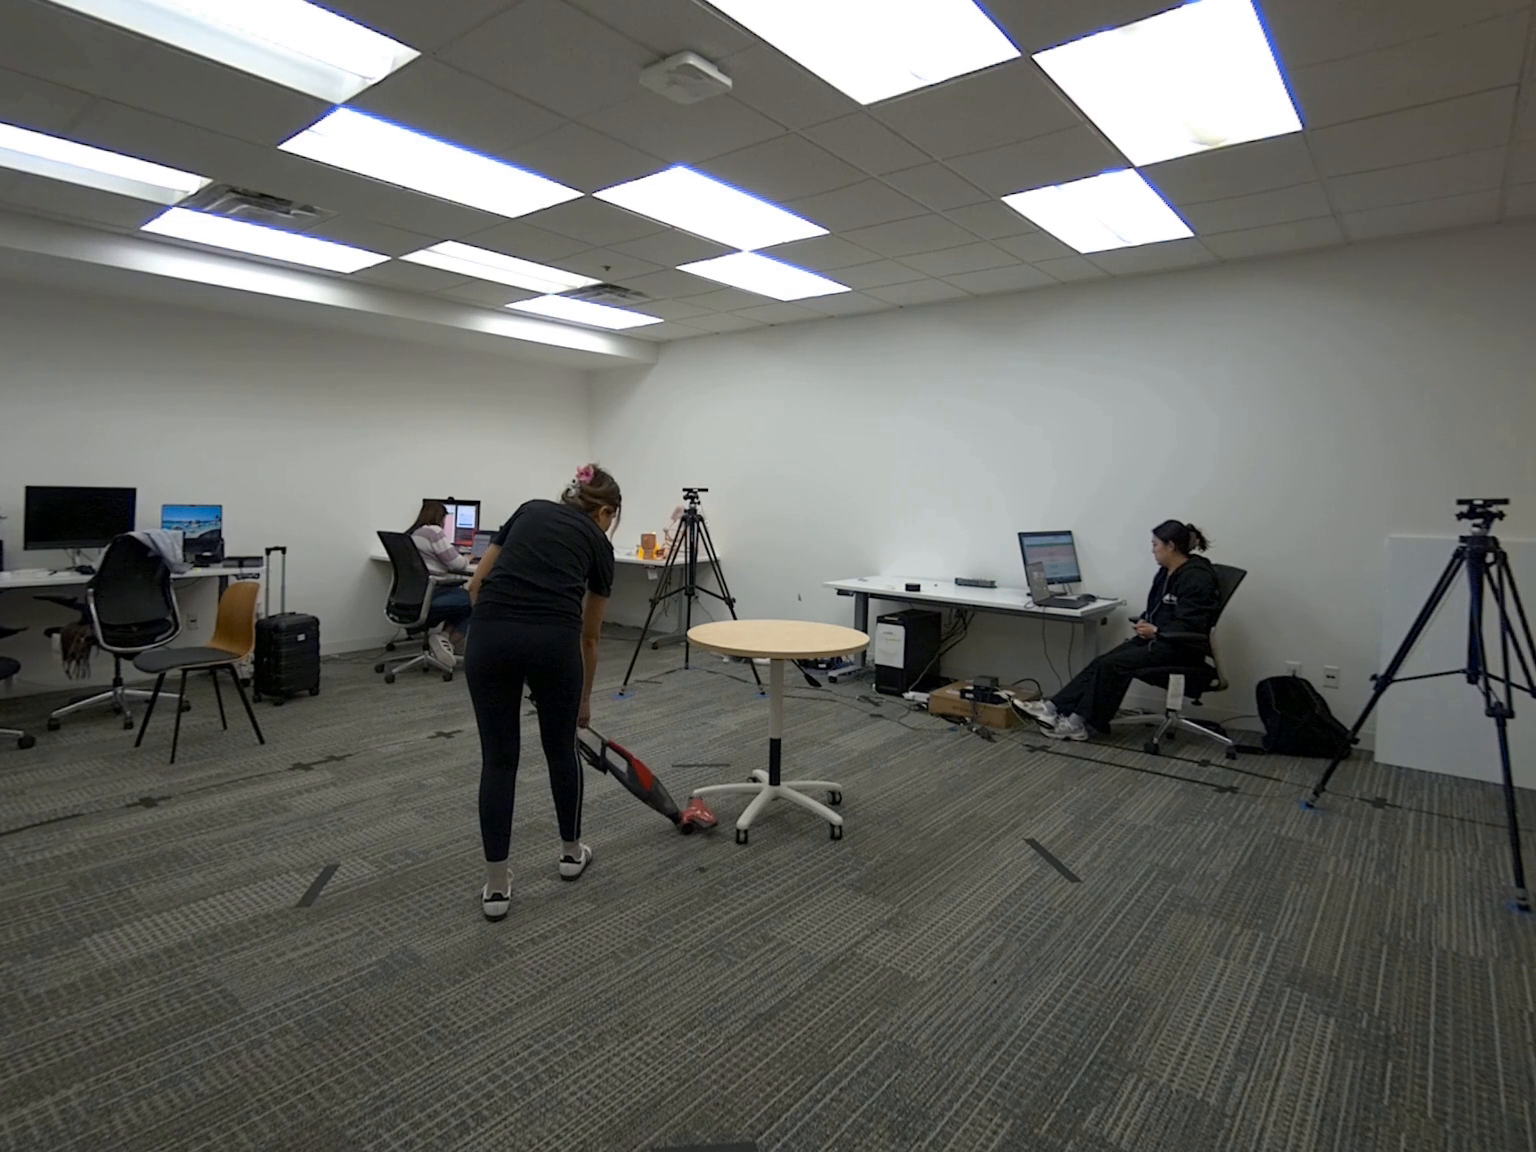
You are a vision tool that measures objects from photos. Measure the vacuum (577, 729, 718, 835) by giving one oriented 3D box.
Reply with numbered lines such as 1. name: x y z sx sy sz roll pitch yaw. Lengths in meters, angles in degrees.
1. vacuum: -0.674 0.682 3.332 1.022 0.144 0.258 40 -16 -19
